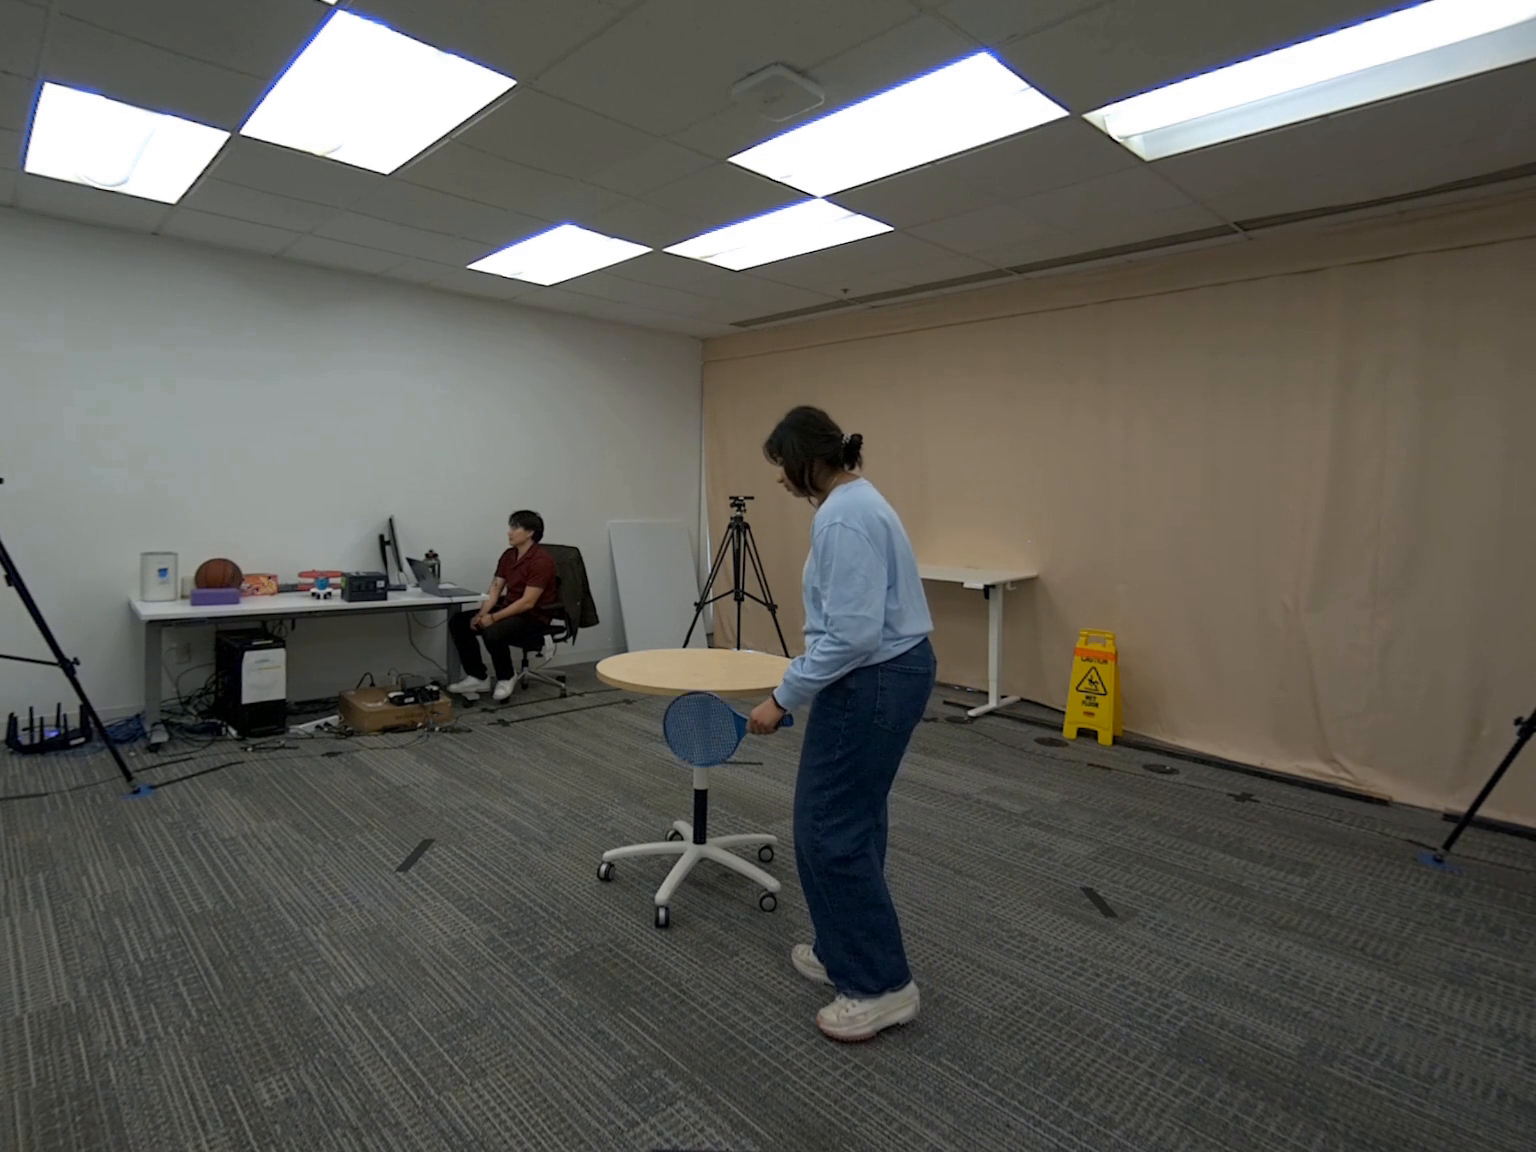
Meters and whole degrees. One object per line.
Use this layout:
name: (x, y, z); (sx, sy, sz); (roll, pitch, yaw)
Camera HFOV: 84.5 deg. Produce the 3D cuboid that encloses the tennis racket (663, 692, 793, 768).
tennis racket: (-0.123, 0.409, 2.310); (0.439, 0.214, 0.031); (-15, -1, 32)
